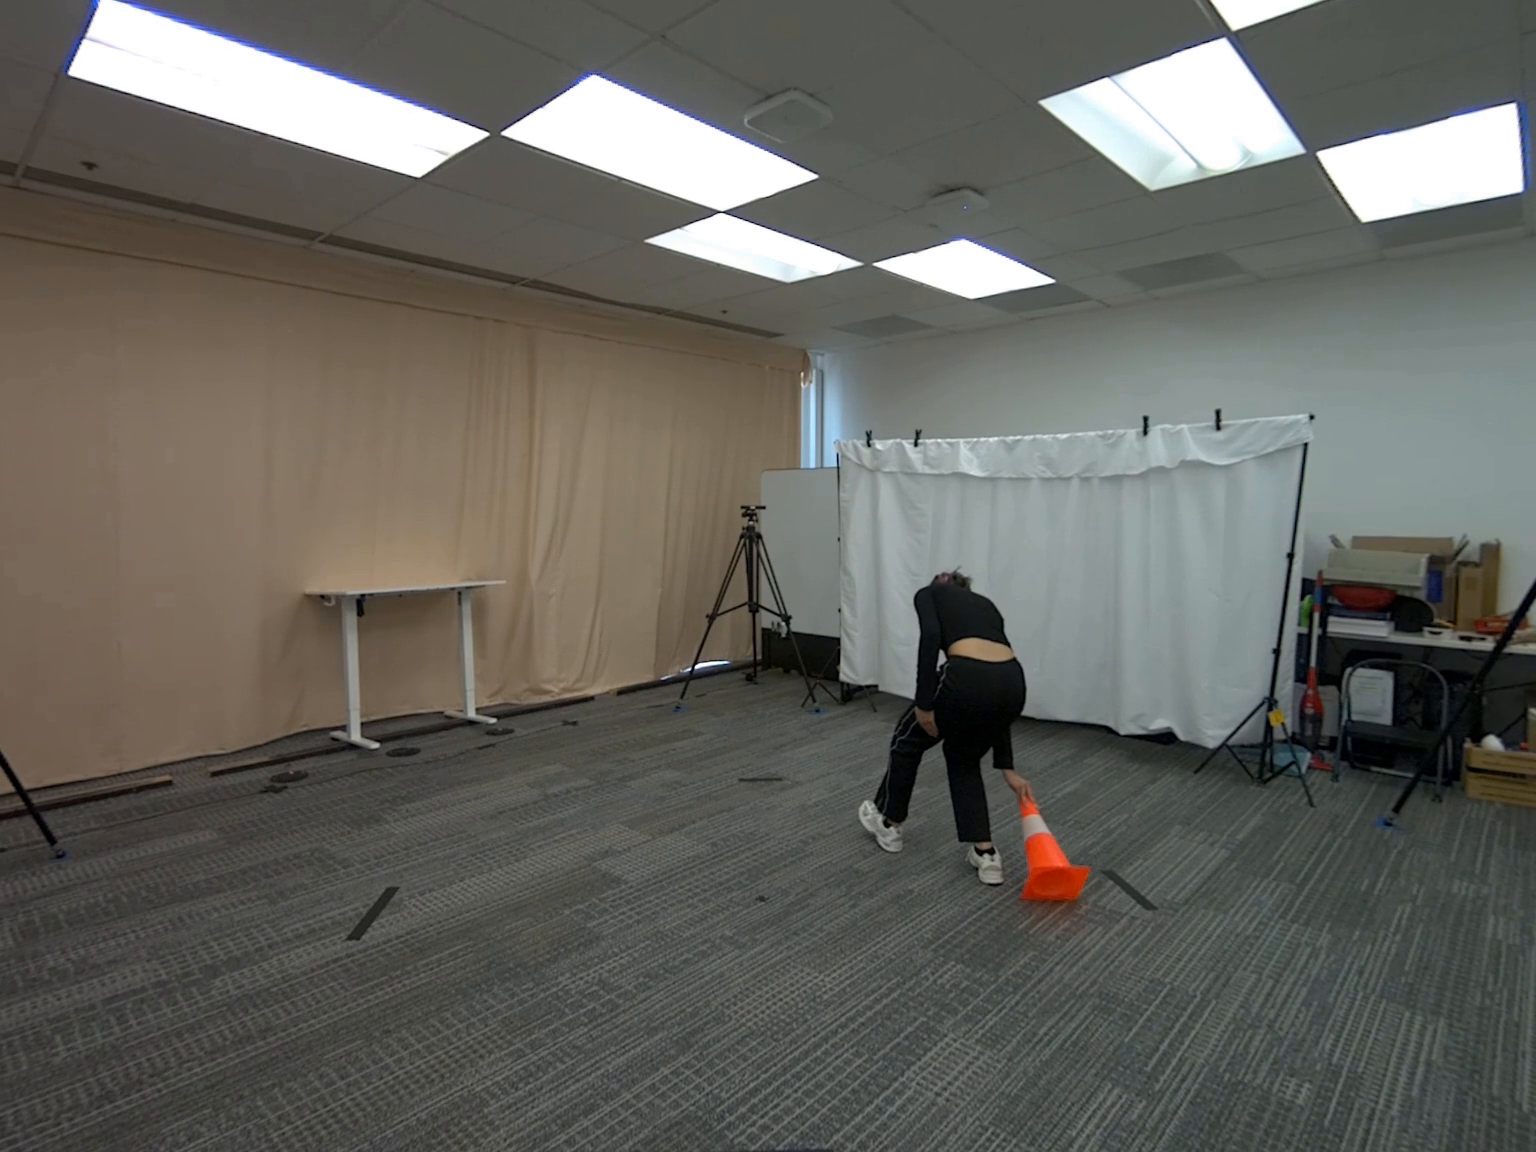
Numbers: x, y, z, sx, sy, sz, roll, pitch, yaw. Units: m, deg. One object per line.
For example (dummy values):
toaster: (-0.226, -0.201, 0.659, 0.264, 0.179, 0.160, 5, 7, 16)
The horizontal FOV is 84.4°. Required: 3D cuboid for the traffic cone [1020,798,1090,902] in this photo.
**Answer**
traffic cone: (0.997, 0.948, 3.059, 0.205, 0.200, 0.390, 2, 37, 1)
